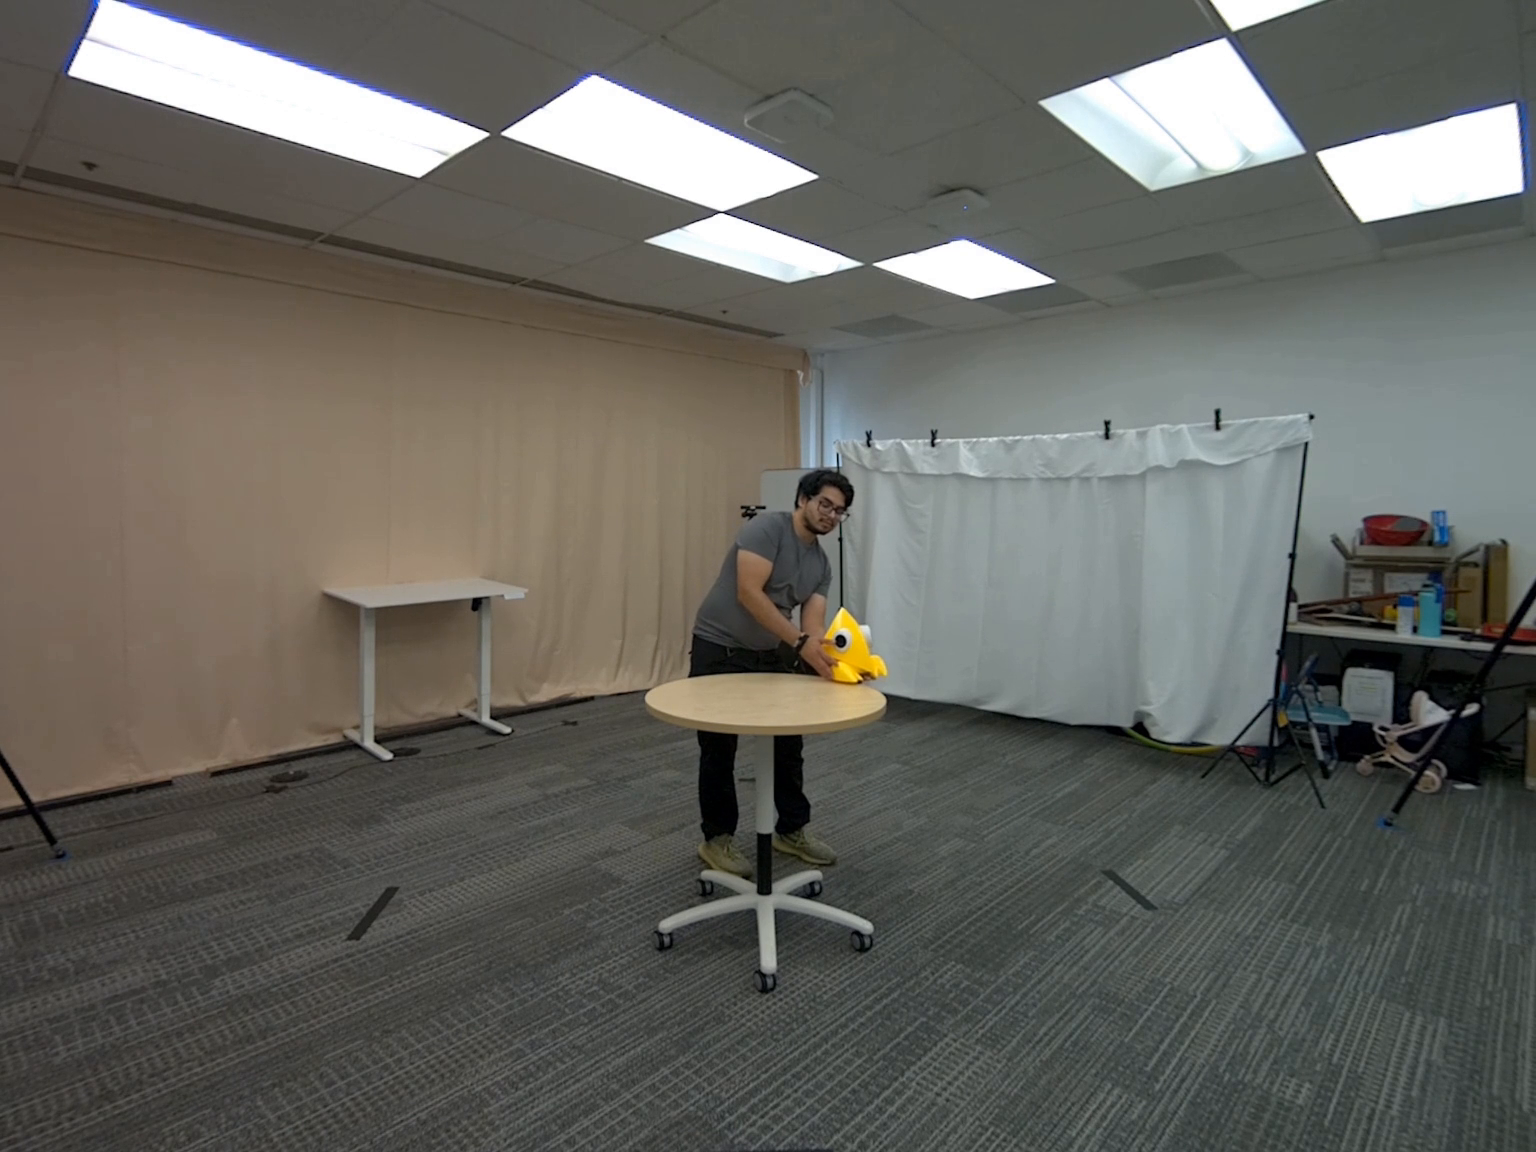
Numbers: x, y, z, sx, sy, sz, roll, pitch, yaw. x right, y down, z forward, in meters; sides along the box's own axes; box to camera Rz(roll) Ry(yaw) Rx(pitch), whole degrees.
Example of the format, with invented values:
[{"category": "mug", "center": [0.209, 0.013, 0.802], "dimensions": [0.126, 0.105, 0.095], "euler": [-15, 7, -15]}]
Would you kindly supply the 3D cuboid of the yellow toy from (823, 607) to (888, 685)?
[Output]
[{"category": "yellow toy", "center": [0.308, 0.233, 2.952], "dimensions": [0.199, 0.230, 0.199], "euler": [-7, 6, -30]}]
